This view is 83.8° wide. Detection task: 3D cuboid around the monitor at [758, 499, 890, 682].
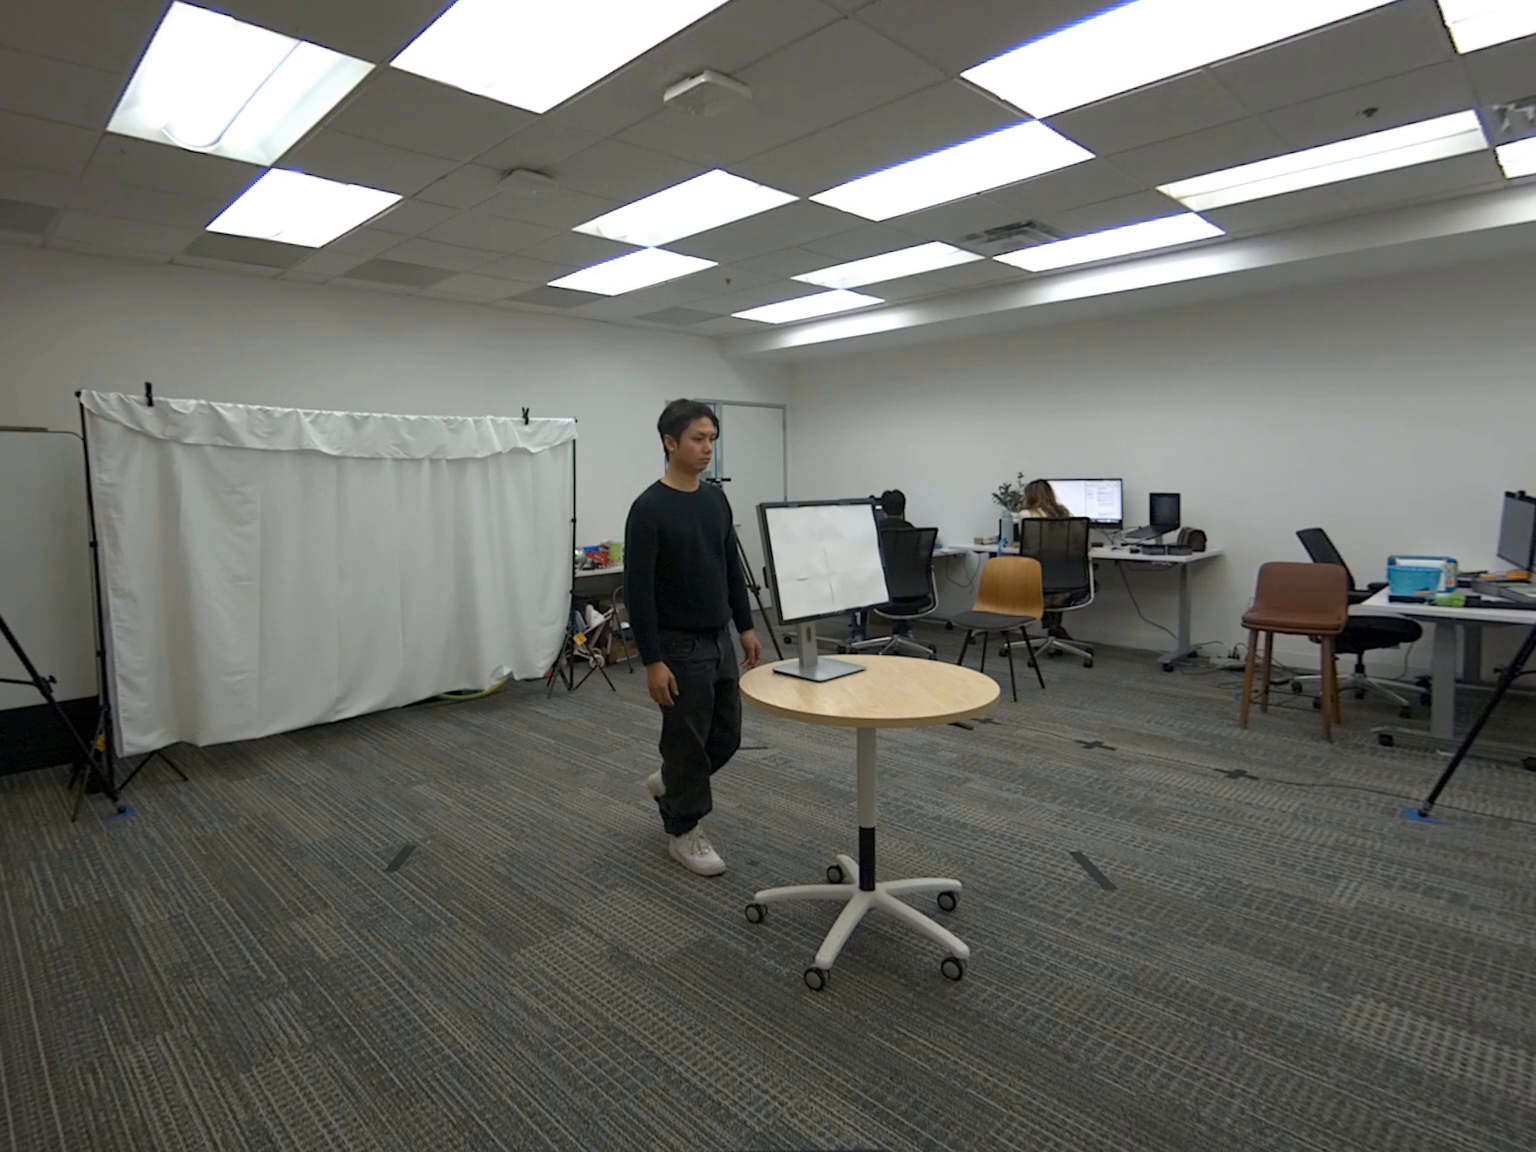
[{"bbox_3d":[0.160,0.037,2.699,0.193,0.520,0.525,3,6,41],"label":"monitor"}]
